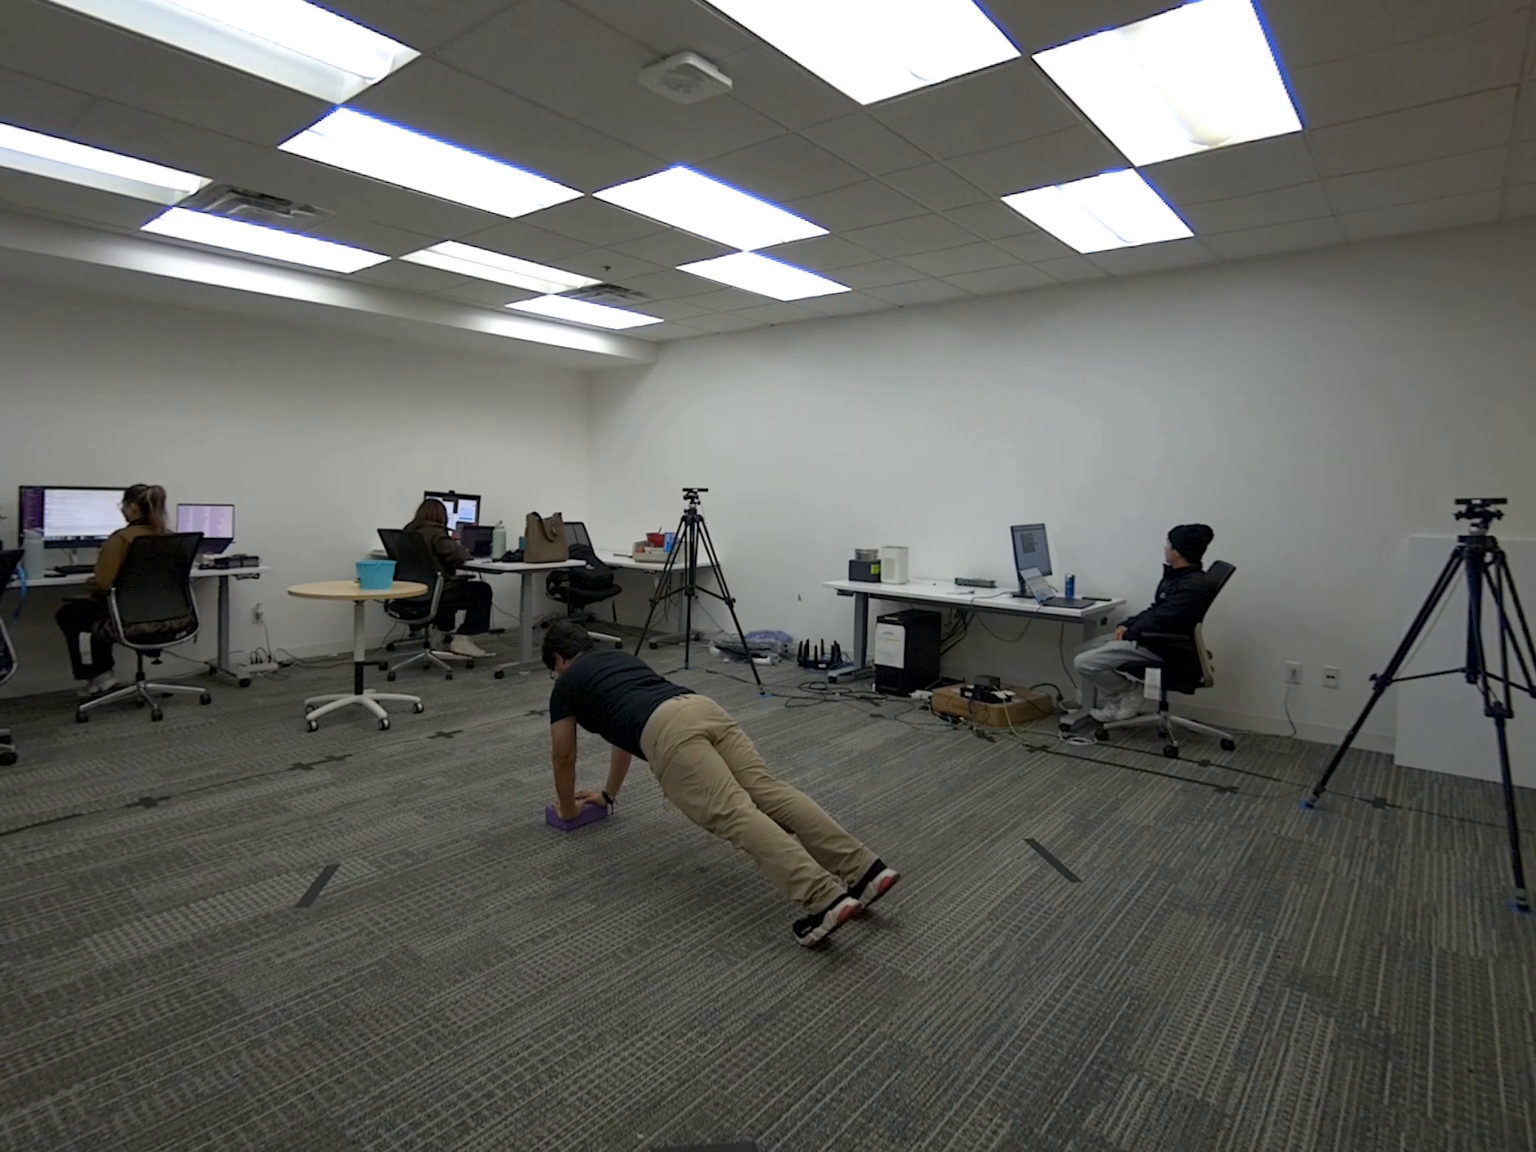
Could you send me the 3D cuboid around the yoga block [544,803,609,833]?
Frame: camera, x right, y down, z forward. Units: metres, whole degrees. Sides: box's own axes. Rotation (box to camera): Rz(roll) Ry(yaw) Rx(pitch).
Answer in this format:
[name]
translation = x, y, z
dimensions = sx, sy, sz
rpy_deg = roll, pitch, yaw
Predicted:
[yoga block]
translation = -0.812, 0.980, 3.562
dimensions = 0.154, 0.076, 0.223
rpy_deg = 2, 5, 37
